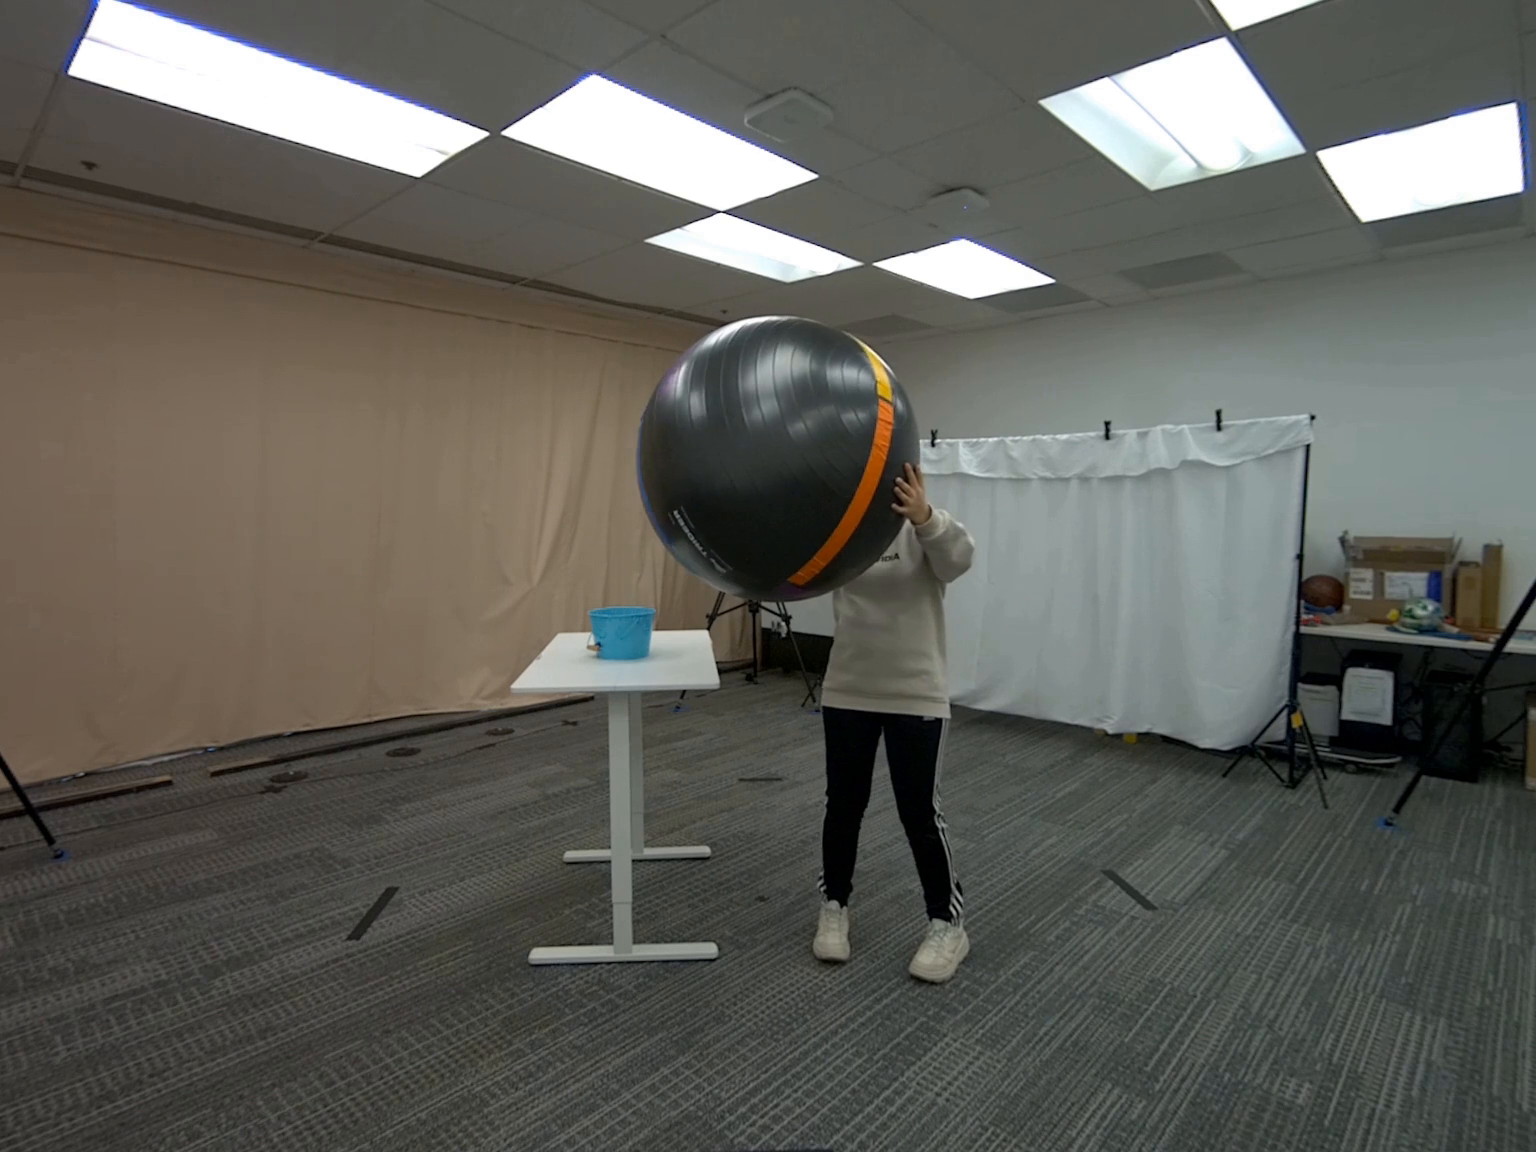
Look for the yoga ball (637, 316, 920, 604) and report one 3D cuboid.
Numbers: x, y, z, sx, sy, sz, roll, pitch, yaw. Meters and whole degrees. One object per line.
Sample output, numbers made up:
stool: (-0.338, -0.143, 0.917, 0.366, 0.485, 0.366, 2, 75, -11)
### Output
yoga ball: (0.031, -0.301, 2.265, 0.757, 0.756, 0.760, 0, 4, -2)
